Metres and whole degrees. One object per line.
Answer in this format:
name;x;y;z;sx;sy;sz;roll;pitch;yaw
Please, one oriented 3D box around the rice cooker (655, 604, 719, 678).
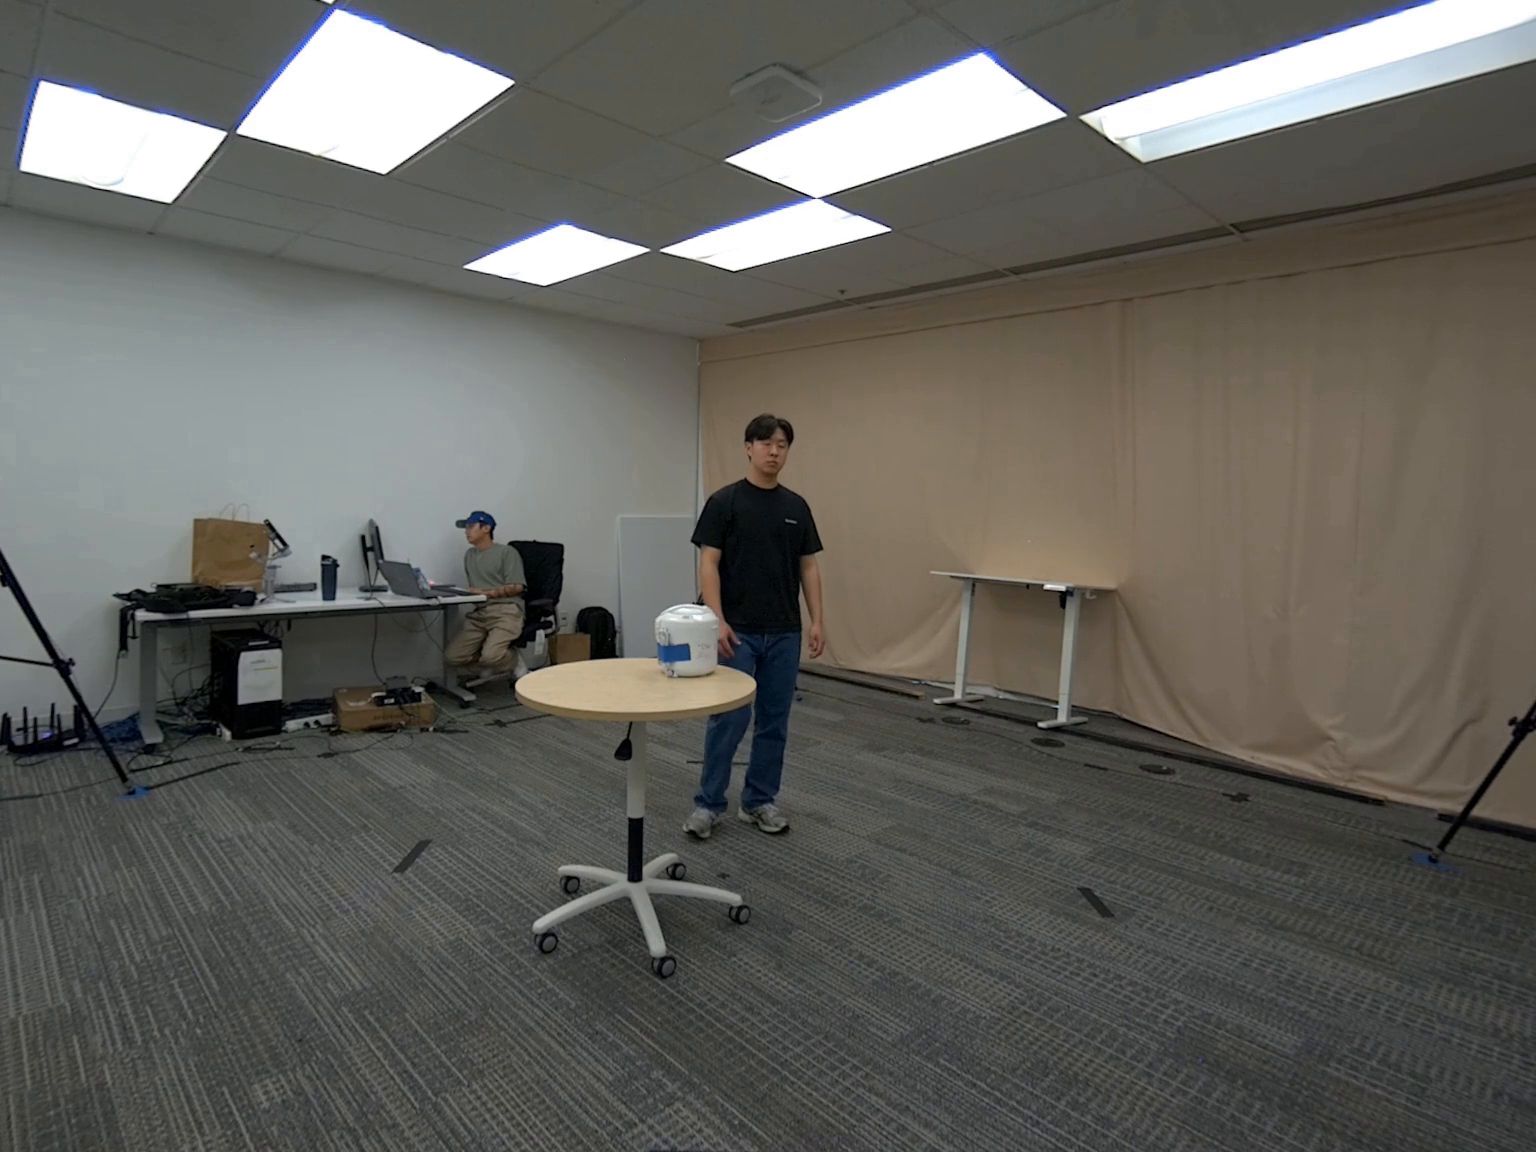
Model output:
rice cooker;-0.284;0.215;2.858;0.219;0.232;0.220;2;5;-11
